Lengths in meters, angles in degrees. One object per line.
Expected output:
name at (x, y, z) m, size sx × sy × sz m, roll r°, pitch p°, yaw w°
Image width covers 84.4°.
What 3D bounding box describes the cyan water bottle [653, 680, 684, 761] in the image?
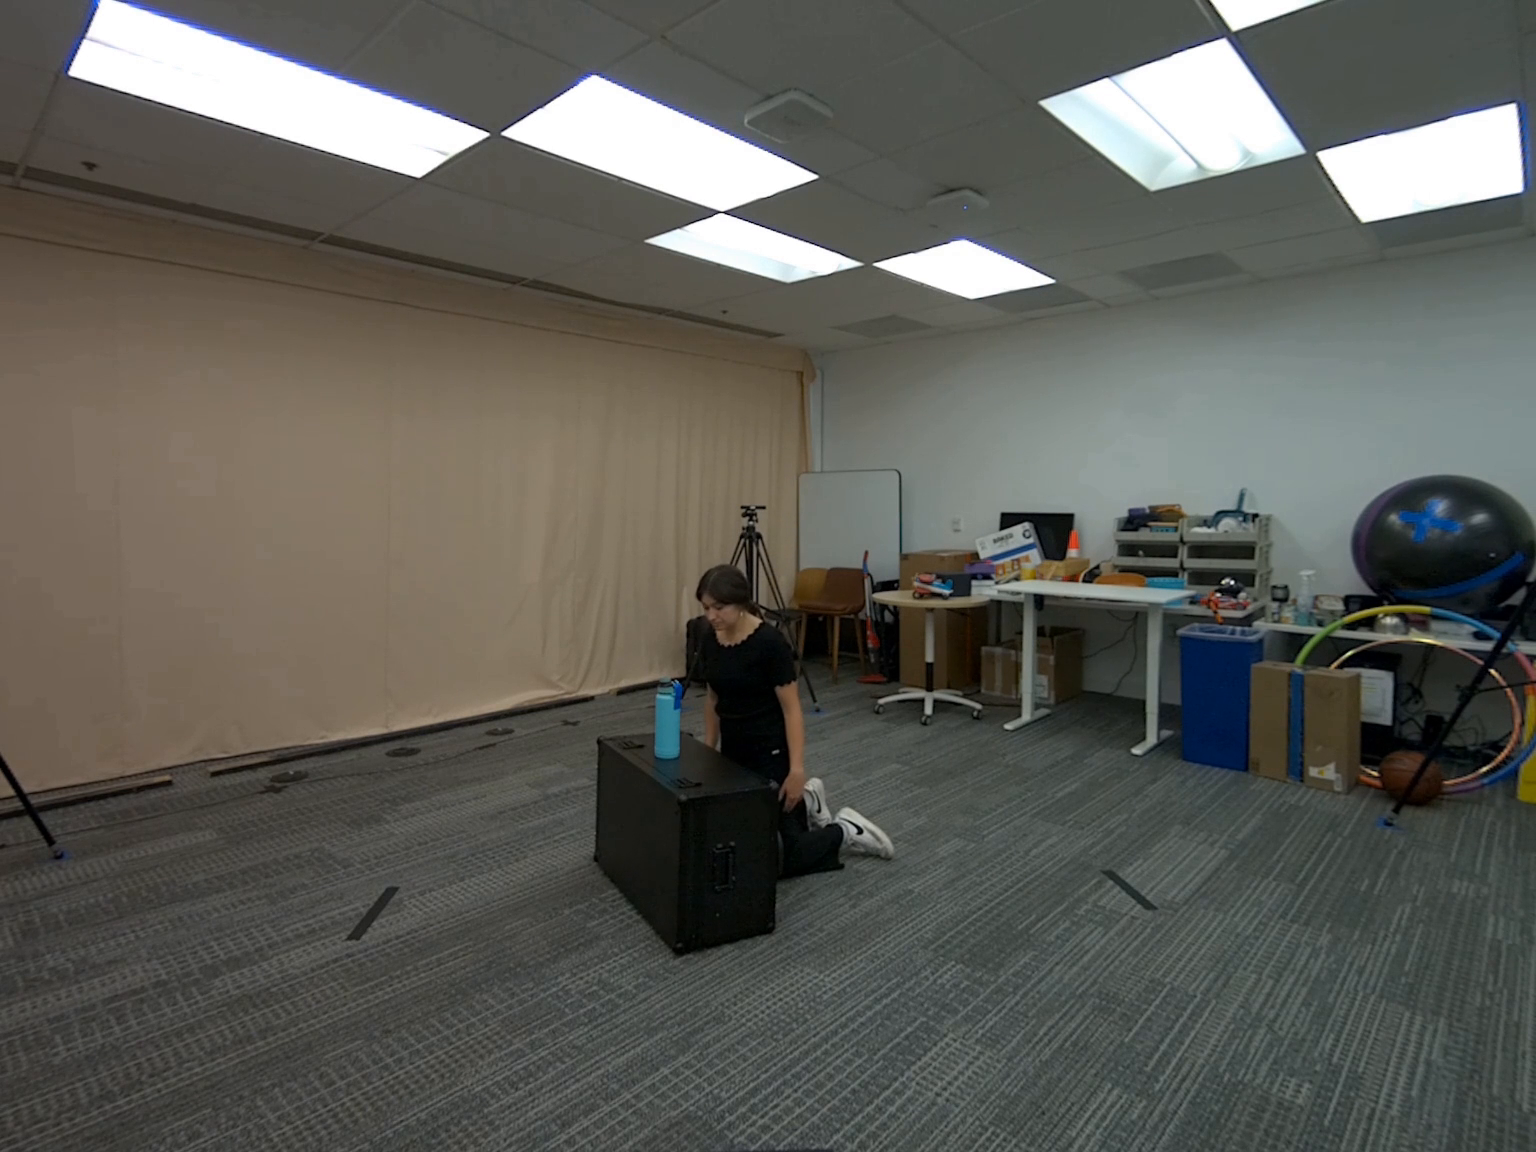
cyan water bottle at (-0.363, 0.512, 3.053) m, size 0.092 × 0.283 × 0.092 m, roll 1°, pitch 3°, yaw -2°
